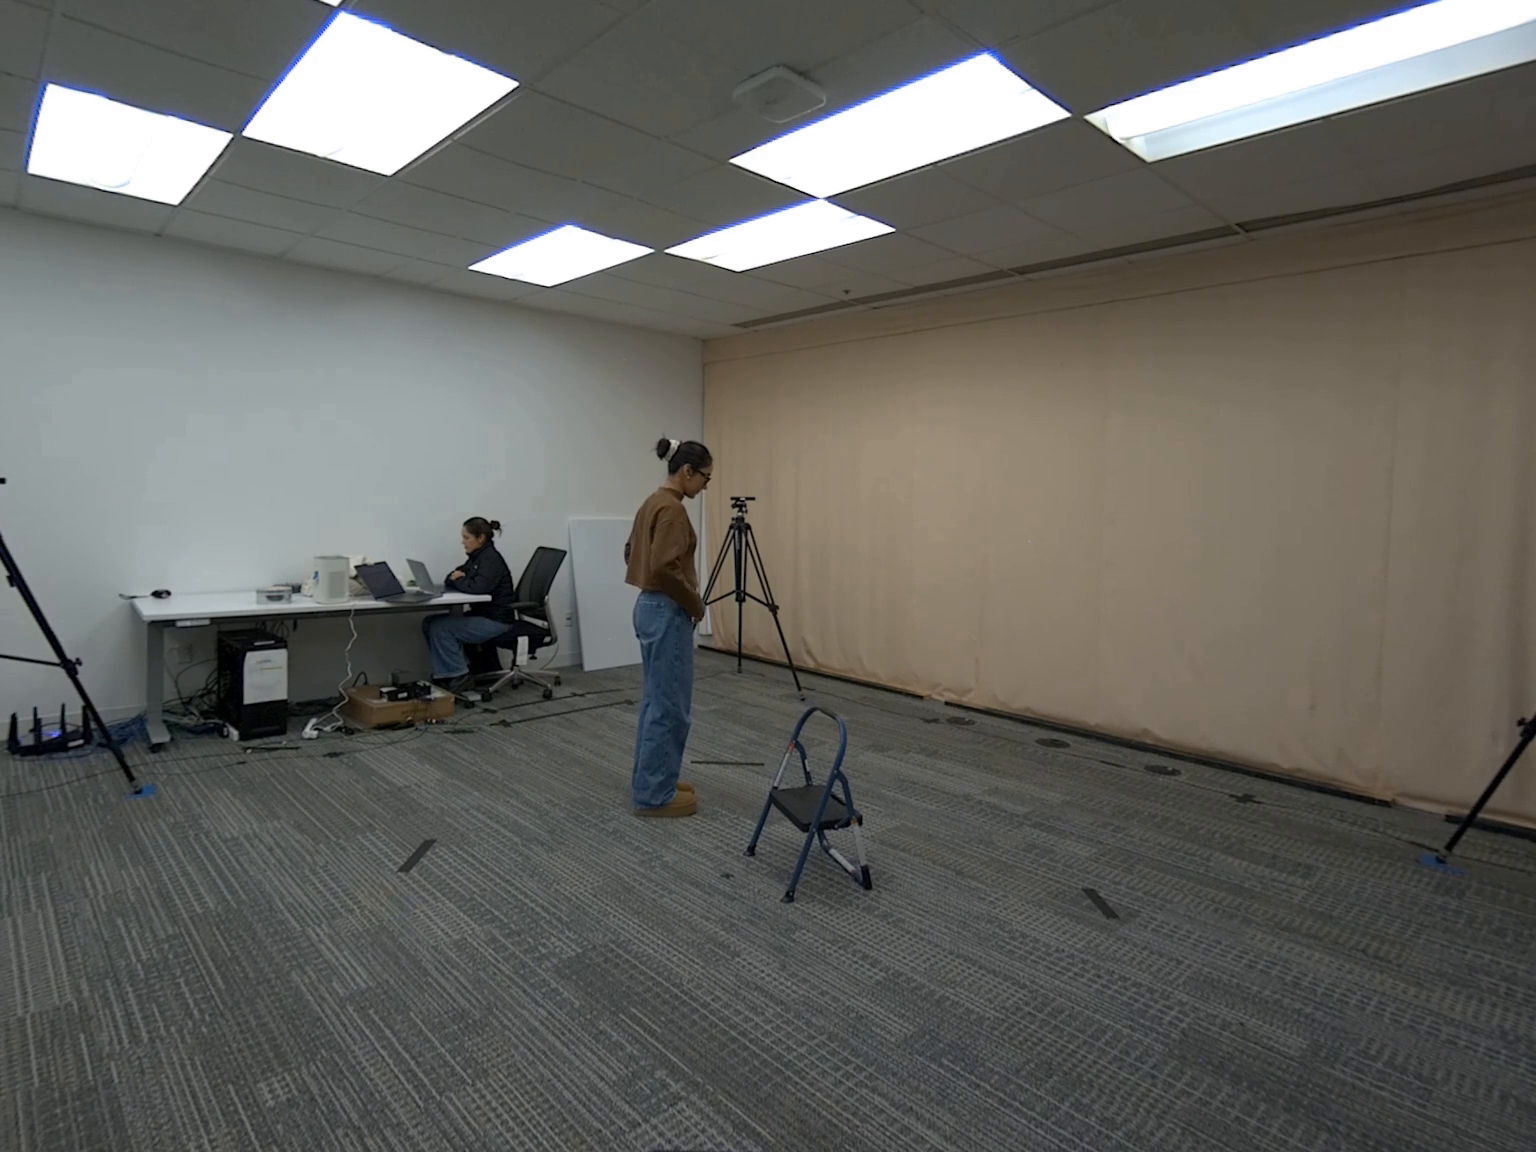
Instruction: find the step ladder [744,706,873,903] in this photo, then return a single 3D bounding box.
[{"bbox_3d":[0.145,0.808,3.137,0.344,0.605,0.438,0,4,-21],"label":"step ladder"}]
